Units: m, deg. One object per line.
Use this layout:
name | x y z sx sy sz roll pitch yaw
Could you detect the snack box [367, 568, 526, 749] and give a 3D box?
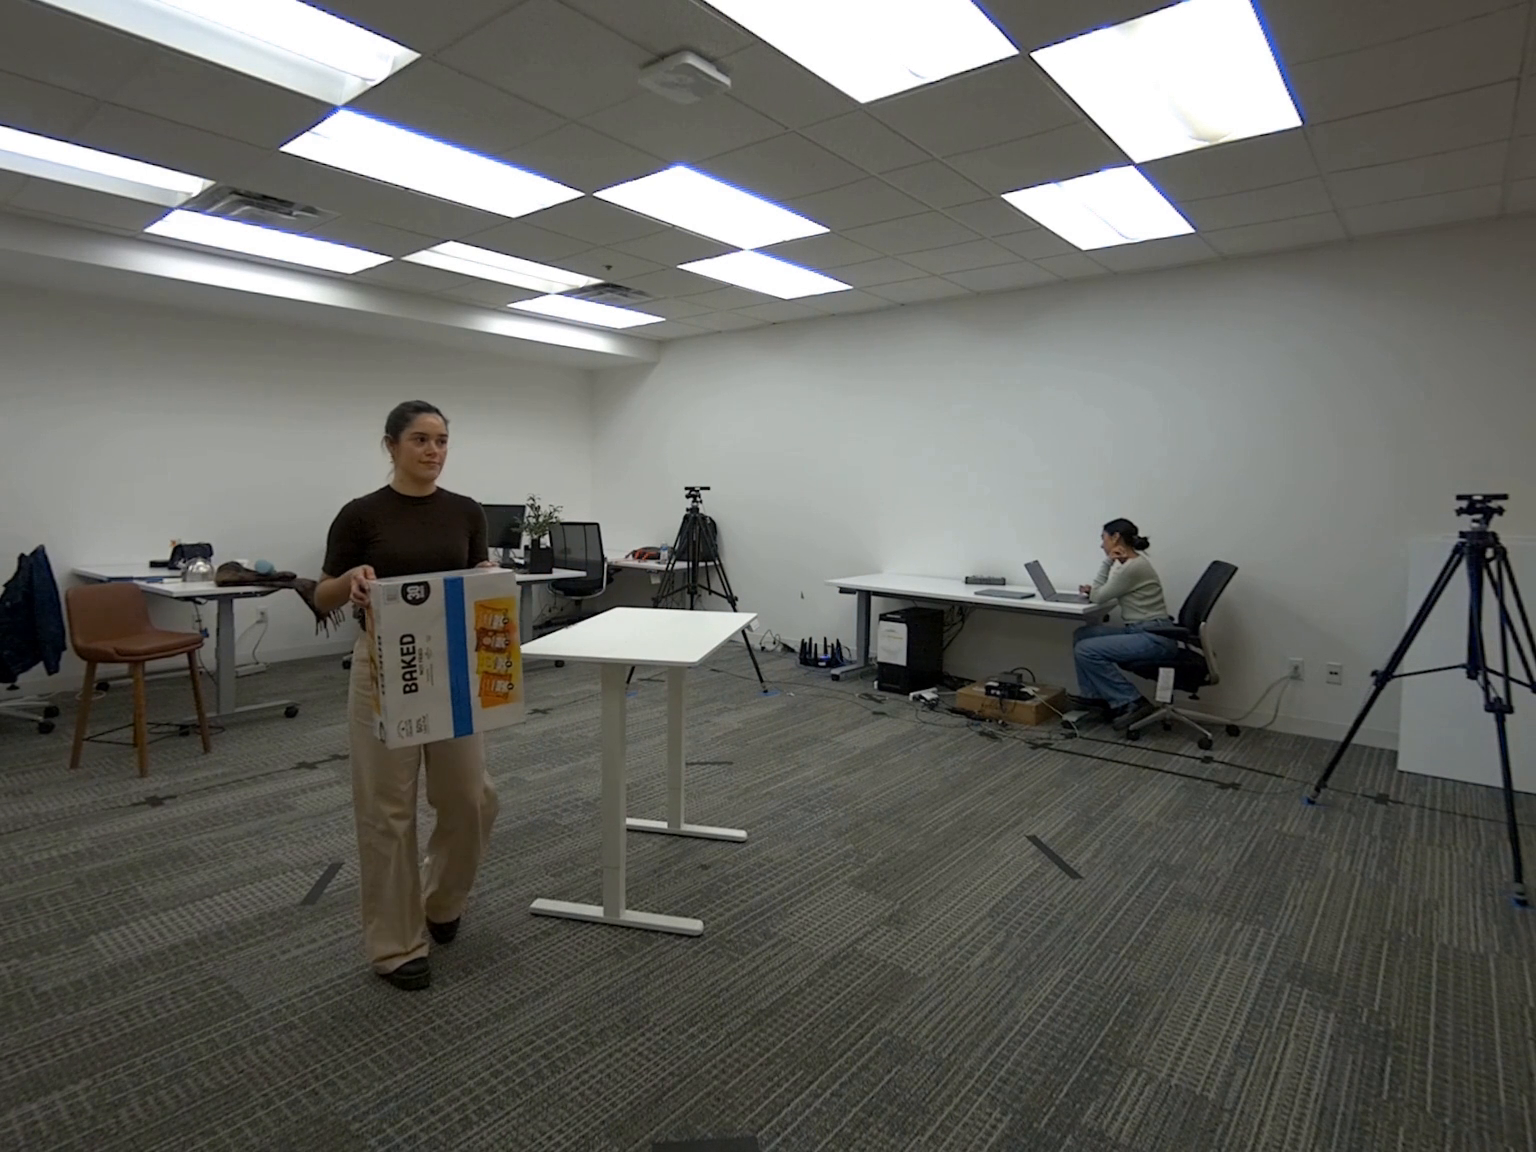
snack box | -0.843 0.195 2.201 0.331 0.403 0.212 -6 5 -34
